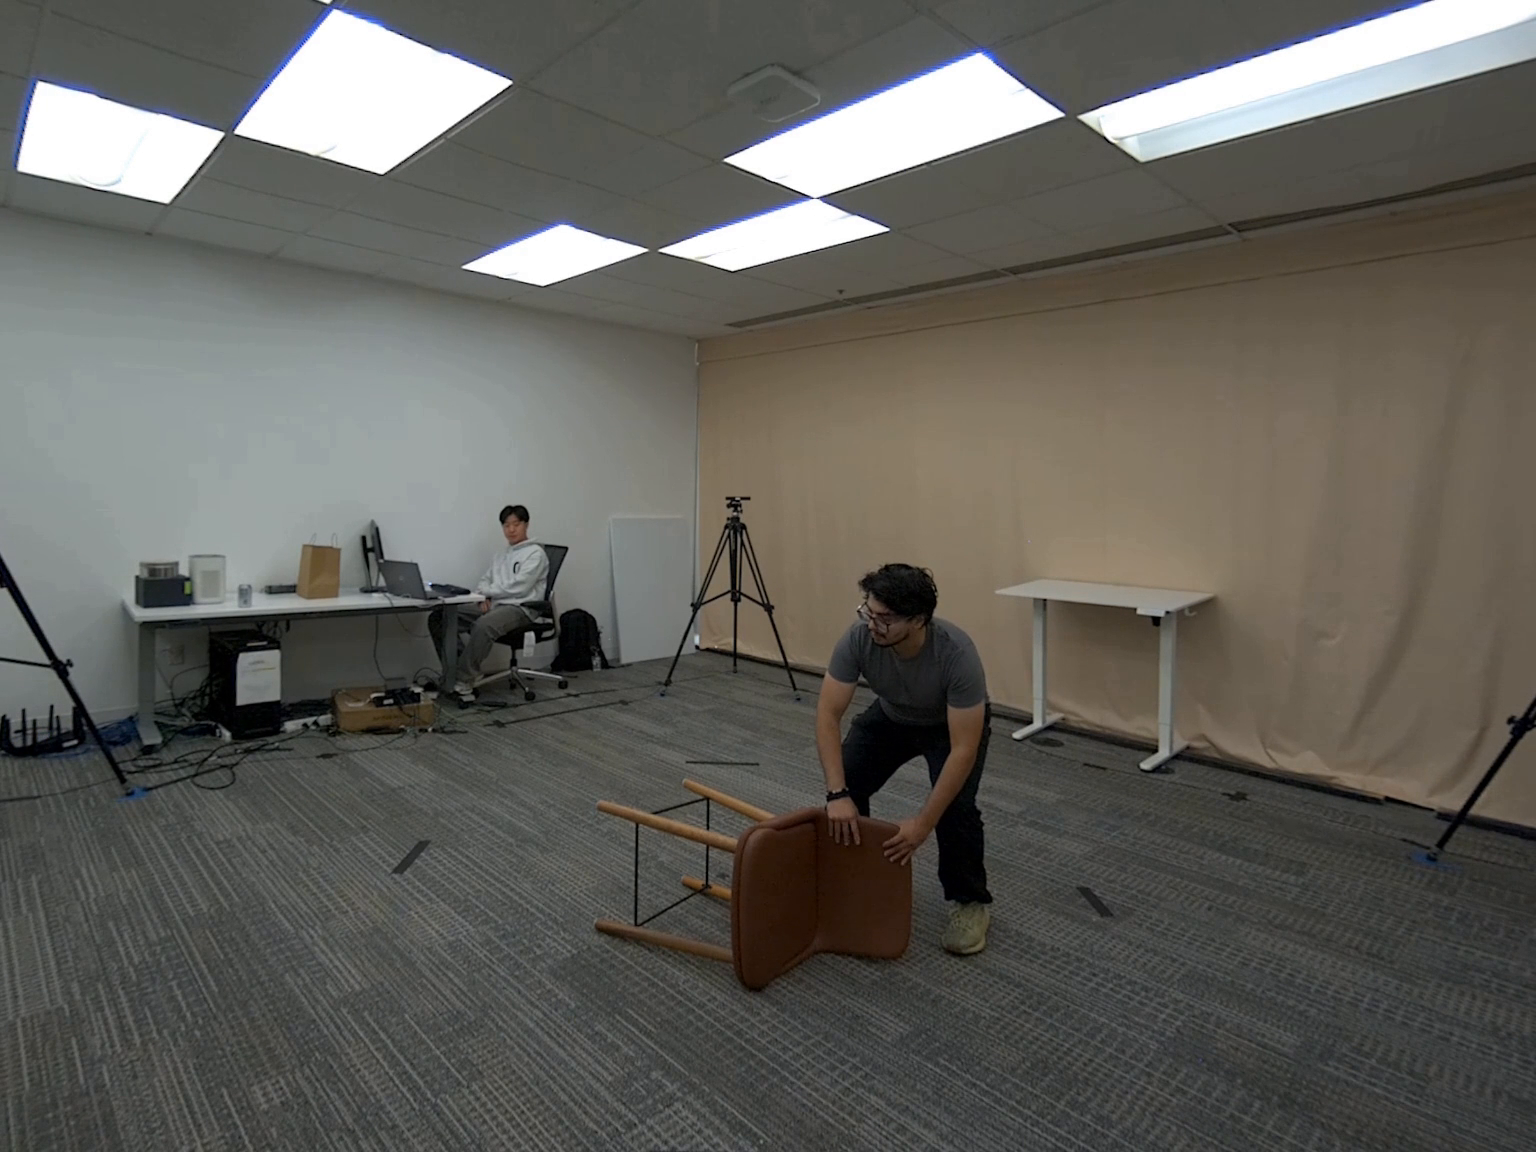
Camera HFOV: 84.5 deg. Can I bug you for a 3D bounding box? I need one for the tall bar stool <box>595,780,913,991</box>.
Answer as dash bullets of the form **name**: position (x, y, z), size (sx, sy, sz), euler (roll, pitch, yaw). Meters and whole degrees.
- **tall bar stool**: position (-0.070, 0.940, 2.606), size (0.910, 0.456, 0.457), euler (3, 1, 35)
